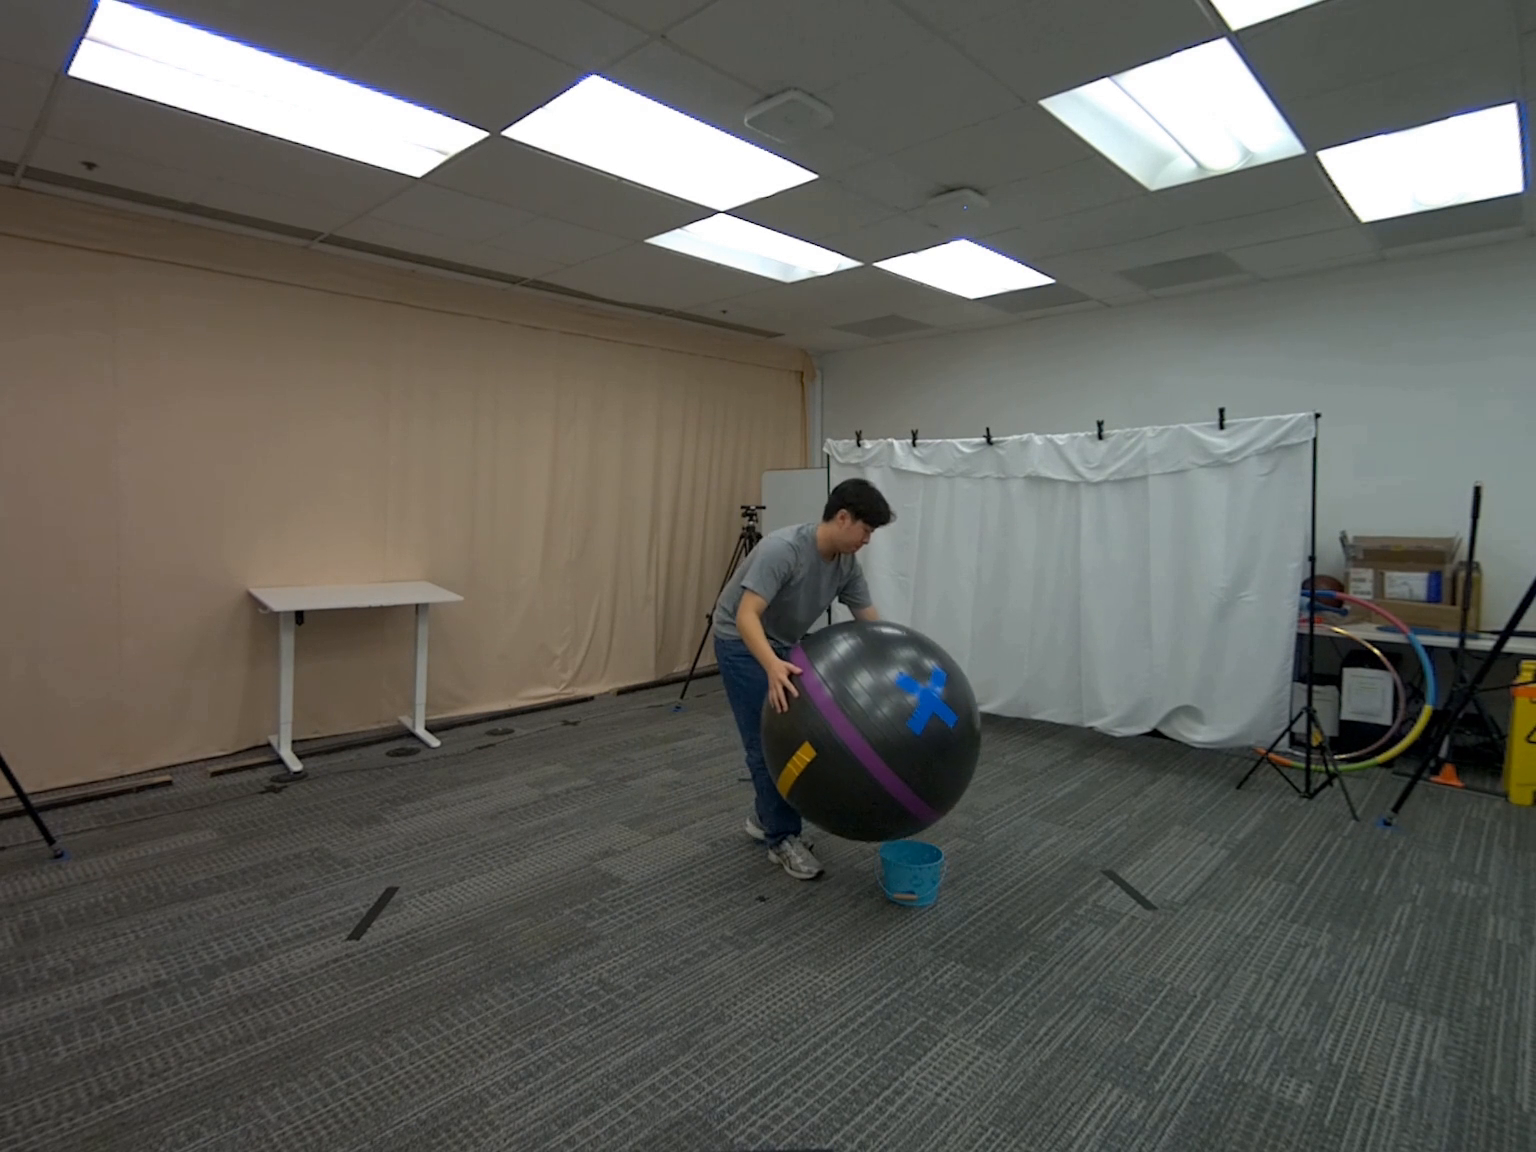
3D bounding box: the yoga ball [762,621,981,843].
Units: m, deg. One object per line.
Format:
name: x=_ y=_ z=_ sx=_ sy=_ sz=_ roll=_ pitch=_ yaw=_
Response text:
yoga ball: x=0.353 y=0.535 z=2.948 sx=0.757 sy=0.756 sz=0.760 roll=0 pitch=4 yaw=-2
